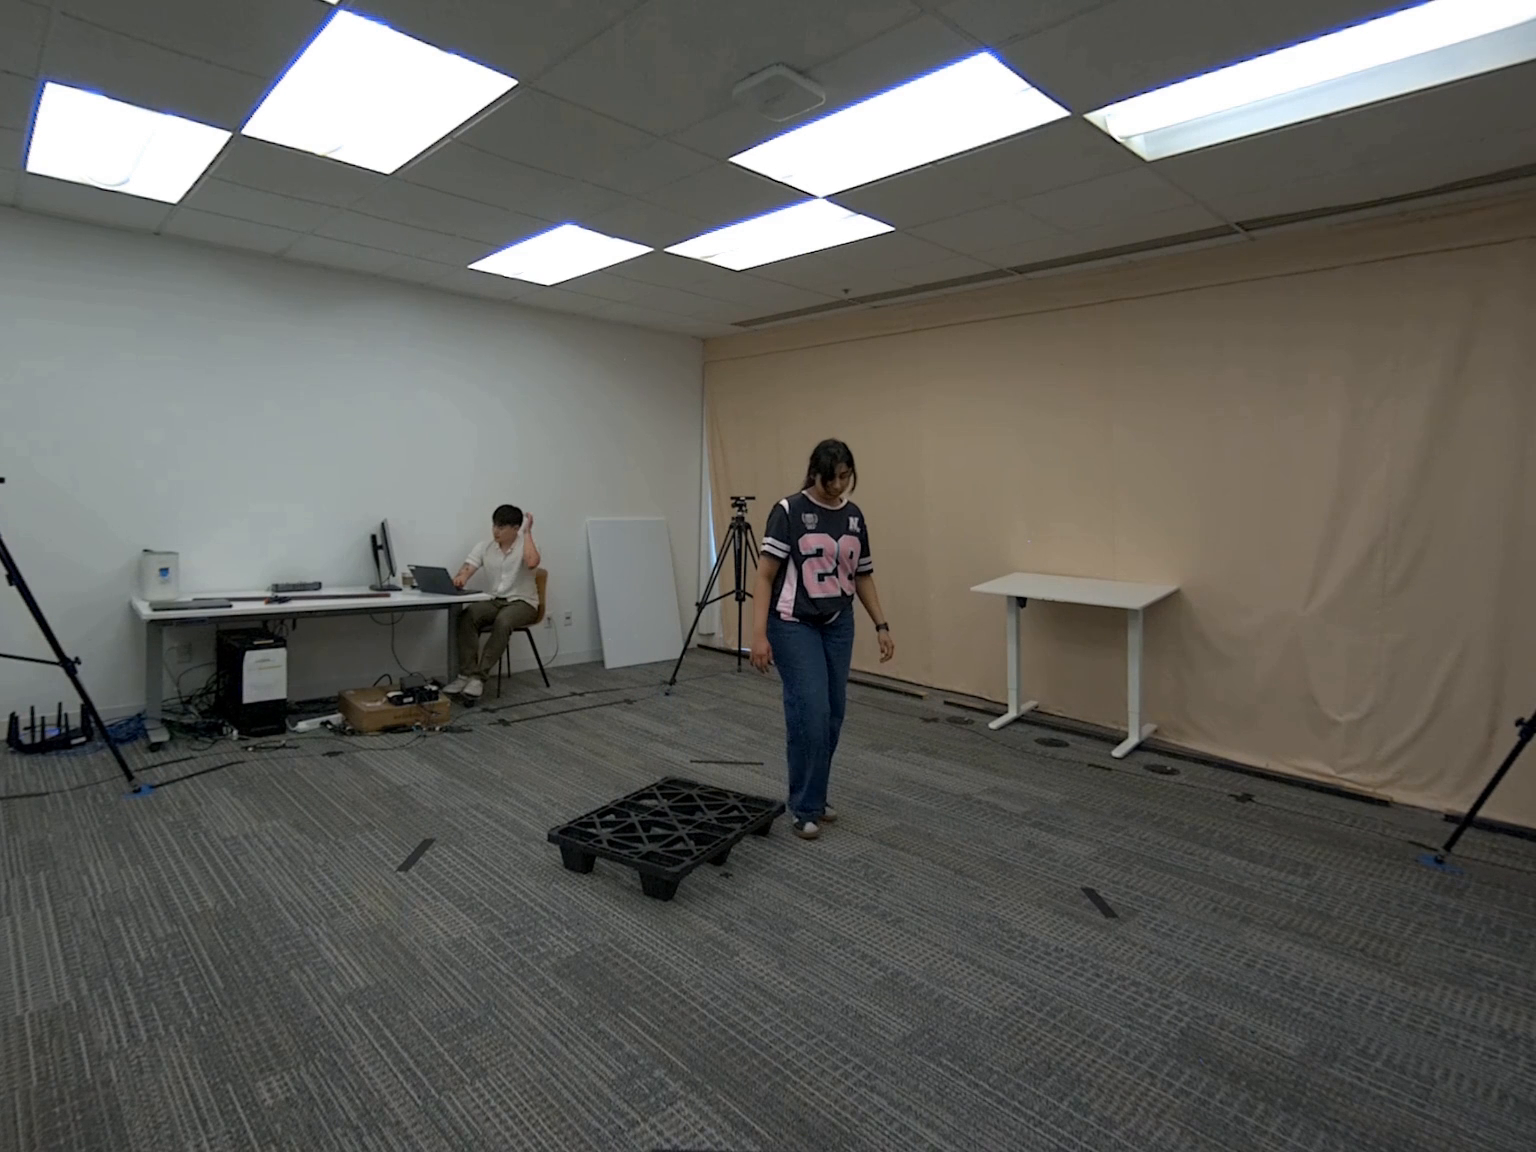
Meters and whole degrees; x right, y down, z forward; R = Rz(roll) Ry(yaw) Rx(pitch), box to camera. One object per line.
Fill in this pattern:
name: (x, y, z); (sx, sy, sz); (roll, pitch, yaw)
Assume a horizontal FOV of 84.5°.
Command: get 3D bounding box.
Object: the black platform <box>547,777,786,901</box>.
black platform: (-0.388, 1.012, 3.309); (0.618, 0.143, 0.790); (4, 5, 30)
